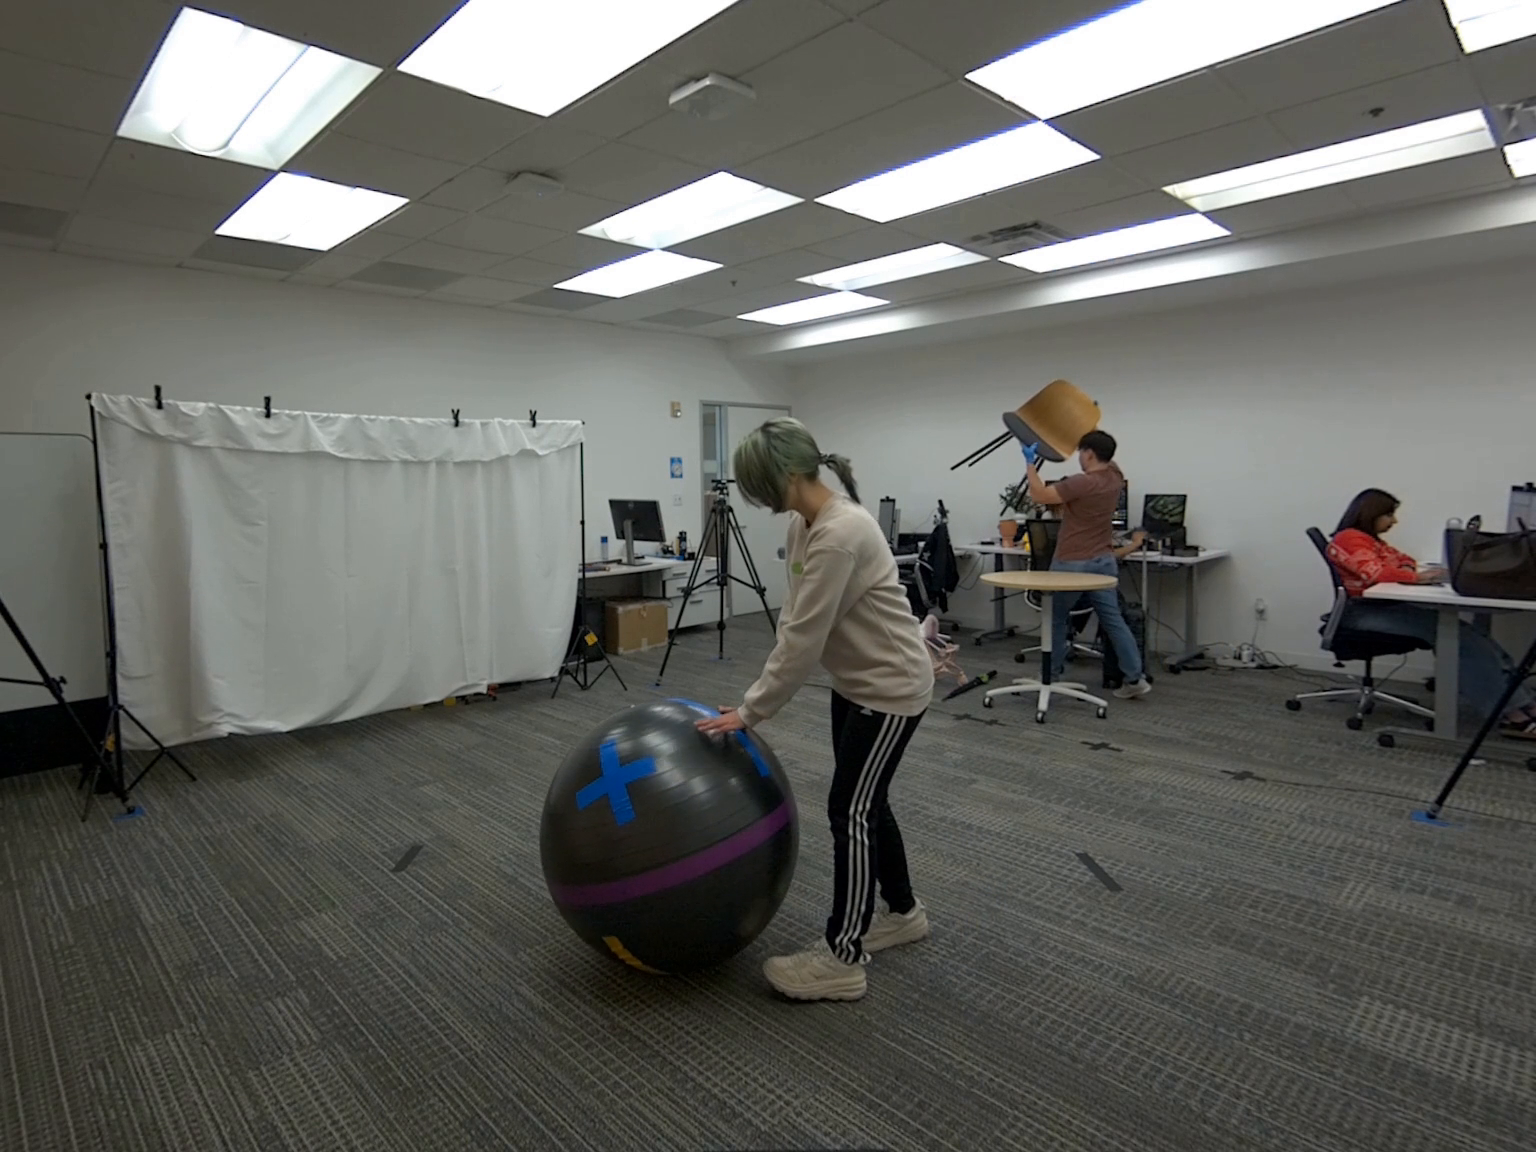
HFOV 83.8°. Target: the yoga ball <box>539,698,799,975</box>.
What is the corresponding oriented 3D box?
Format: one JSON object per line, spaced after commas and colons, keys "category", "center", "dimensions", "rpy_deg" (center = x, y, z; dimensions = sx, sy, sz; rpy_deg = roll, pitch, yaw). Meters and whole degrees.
{"category": "yoga ball", "center": [-0.295, 0.764, 2.507], "dimensions": [0.757, 0.755, 0.762], "rpy_deg": [-1, 5, -2]}
